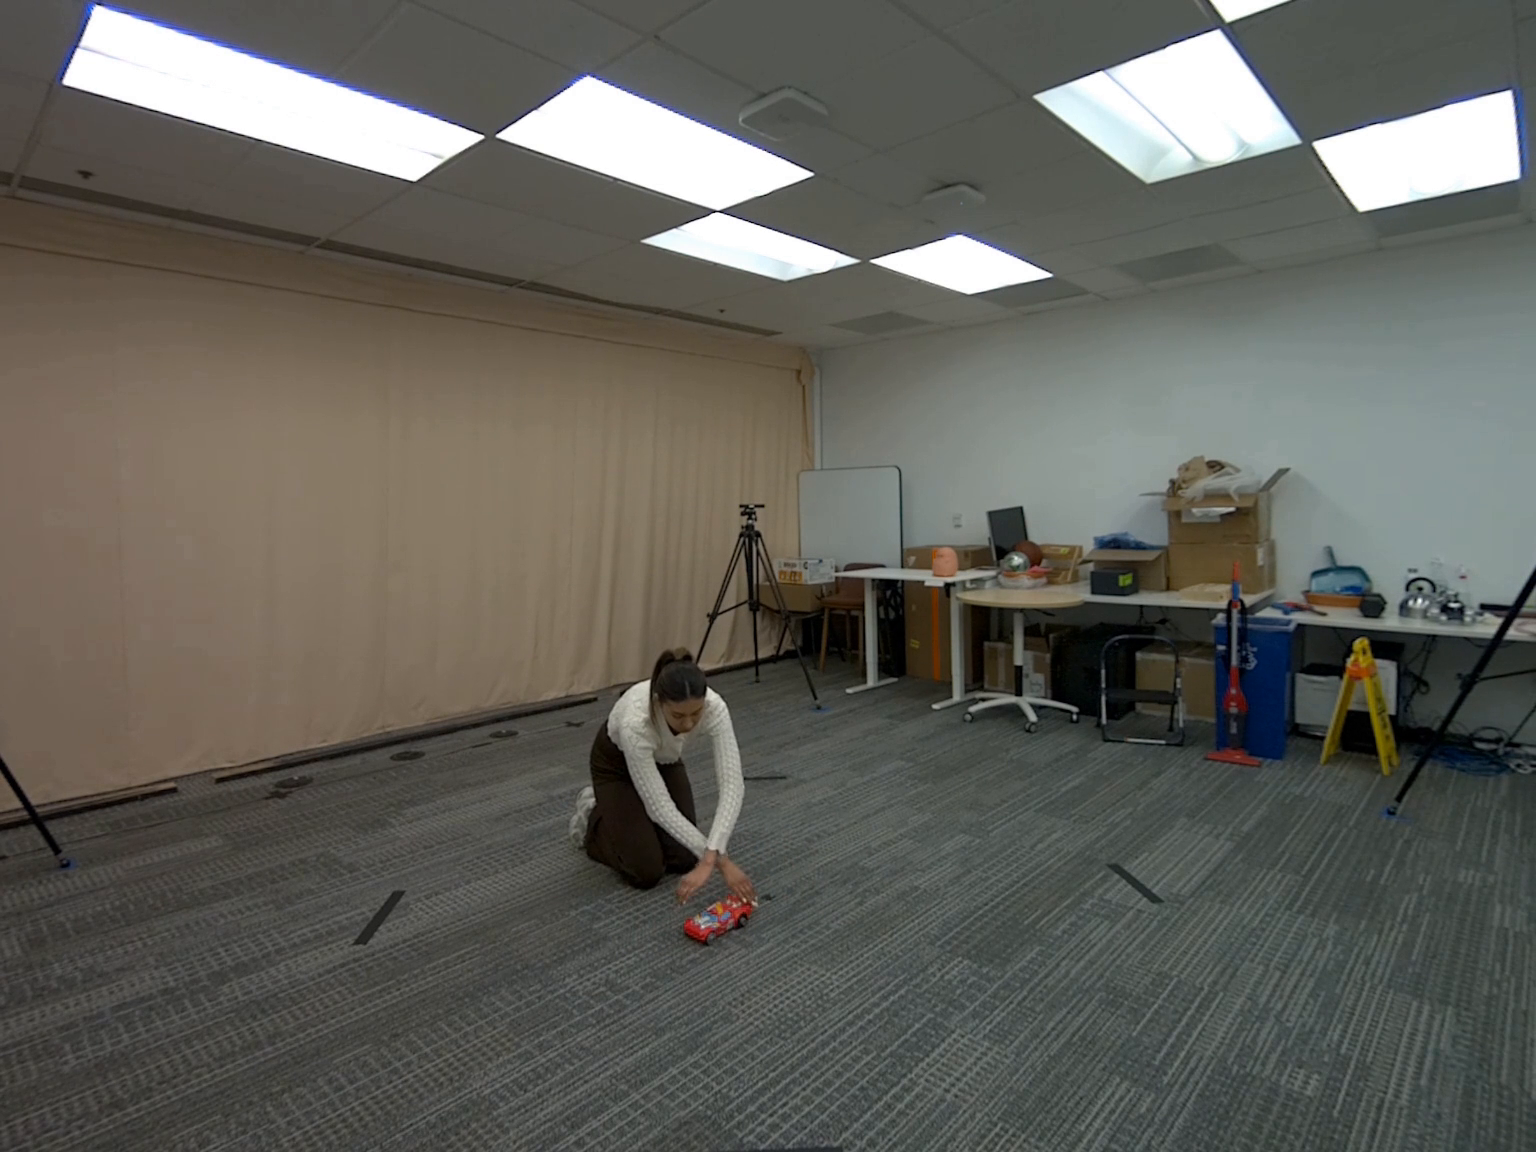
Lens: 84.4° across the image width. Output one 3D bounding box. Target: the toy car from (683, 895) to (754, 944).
[{"bbox_3d":[-0.152,1.128,2.768,0.134,0.082,0.248,3,18,43],"label":"toy car"}]
